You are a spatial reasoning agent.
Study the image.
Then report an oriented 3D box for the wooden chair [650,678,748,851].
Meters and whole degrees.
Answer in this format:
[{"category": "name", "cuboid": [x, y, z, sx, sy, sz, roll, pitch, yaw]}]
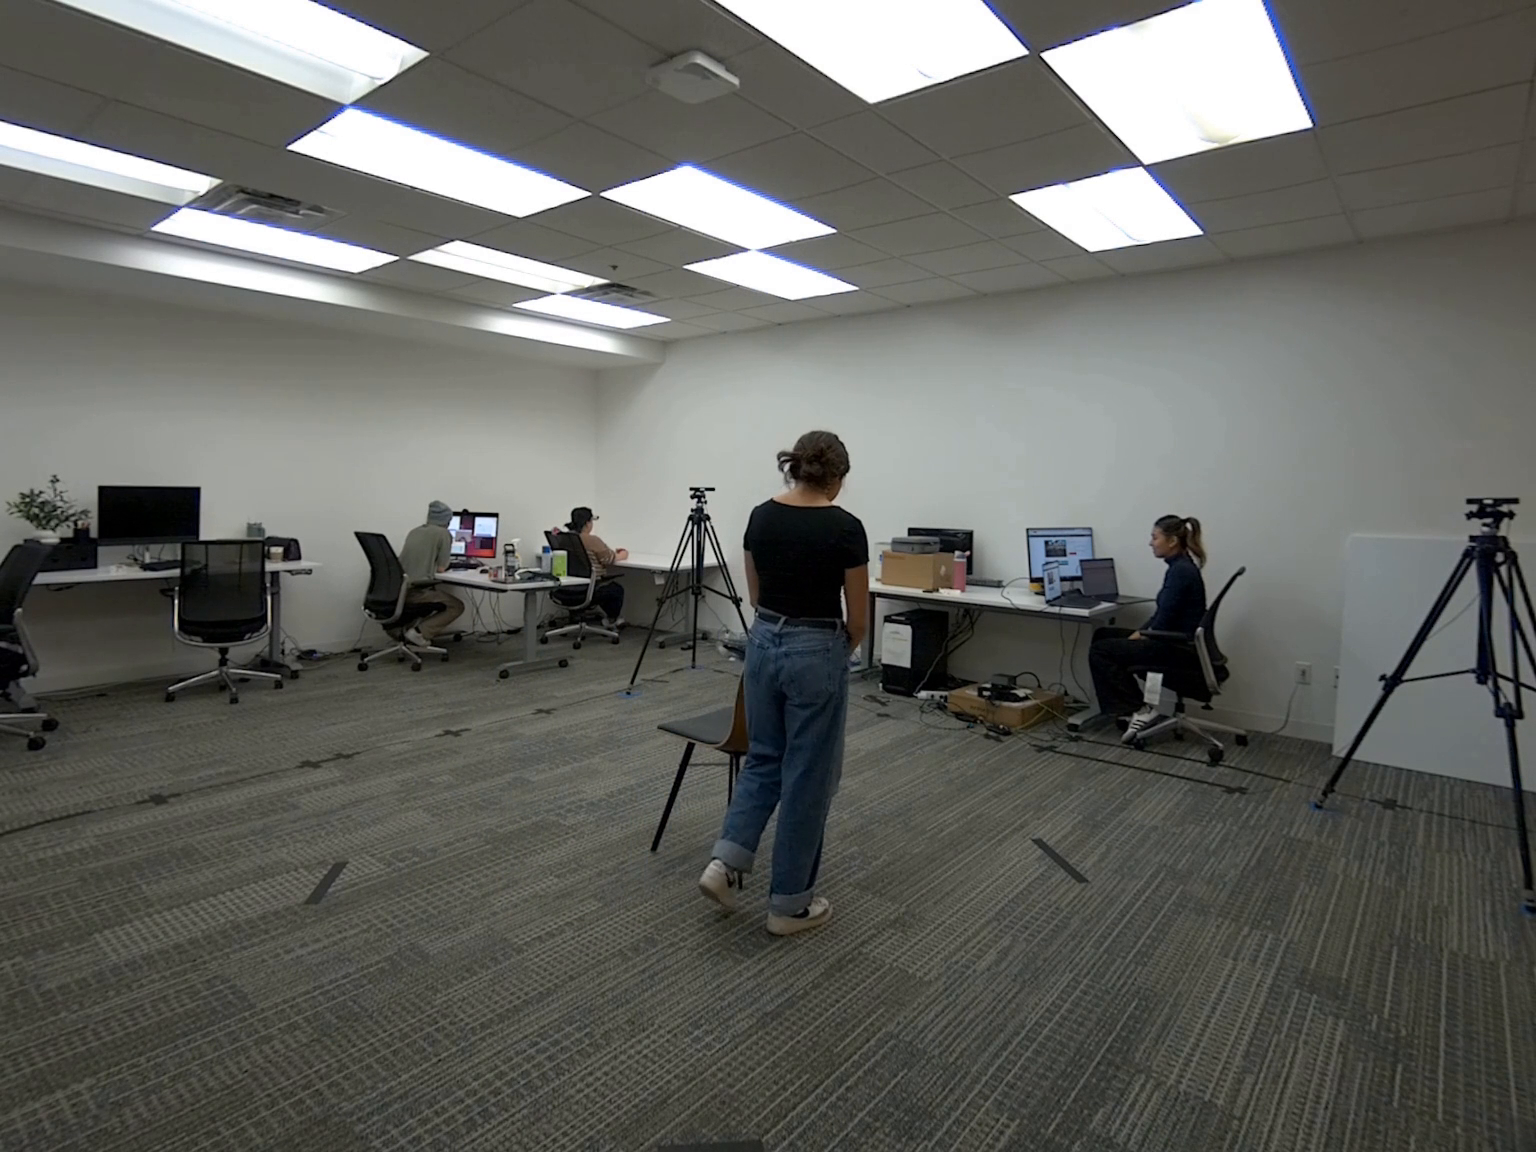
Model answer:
[{"category": "wooden chair", "cuboid": [-0.137, 0.629, 3.239, 0.542, 0.873, 0.463, 10, 8, 40]}]
